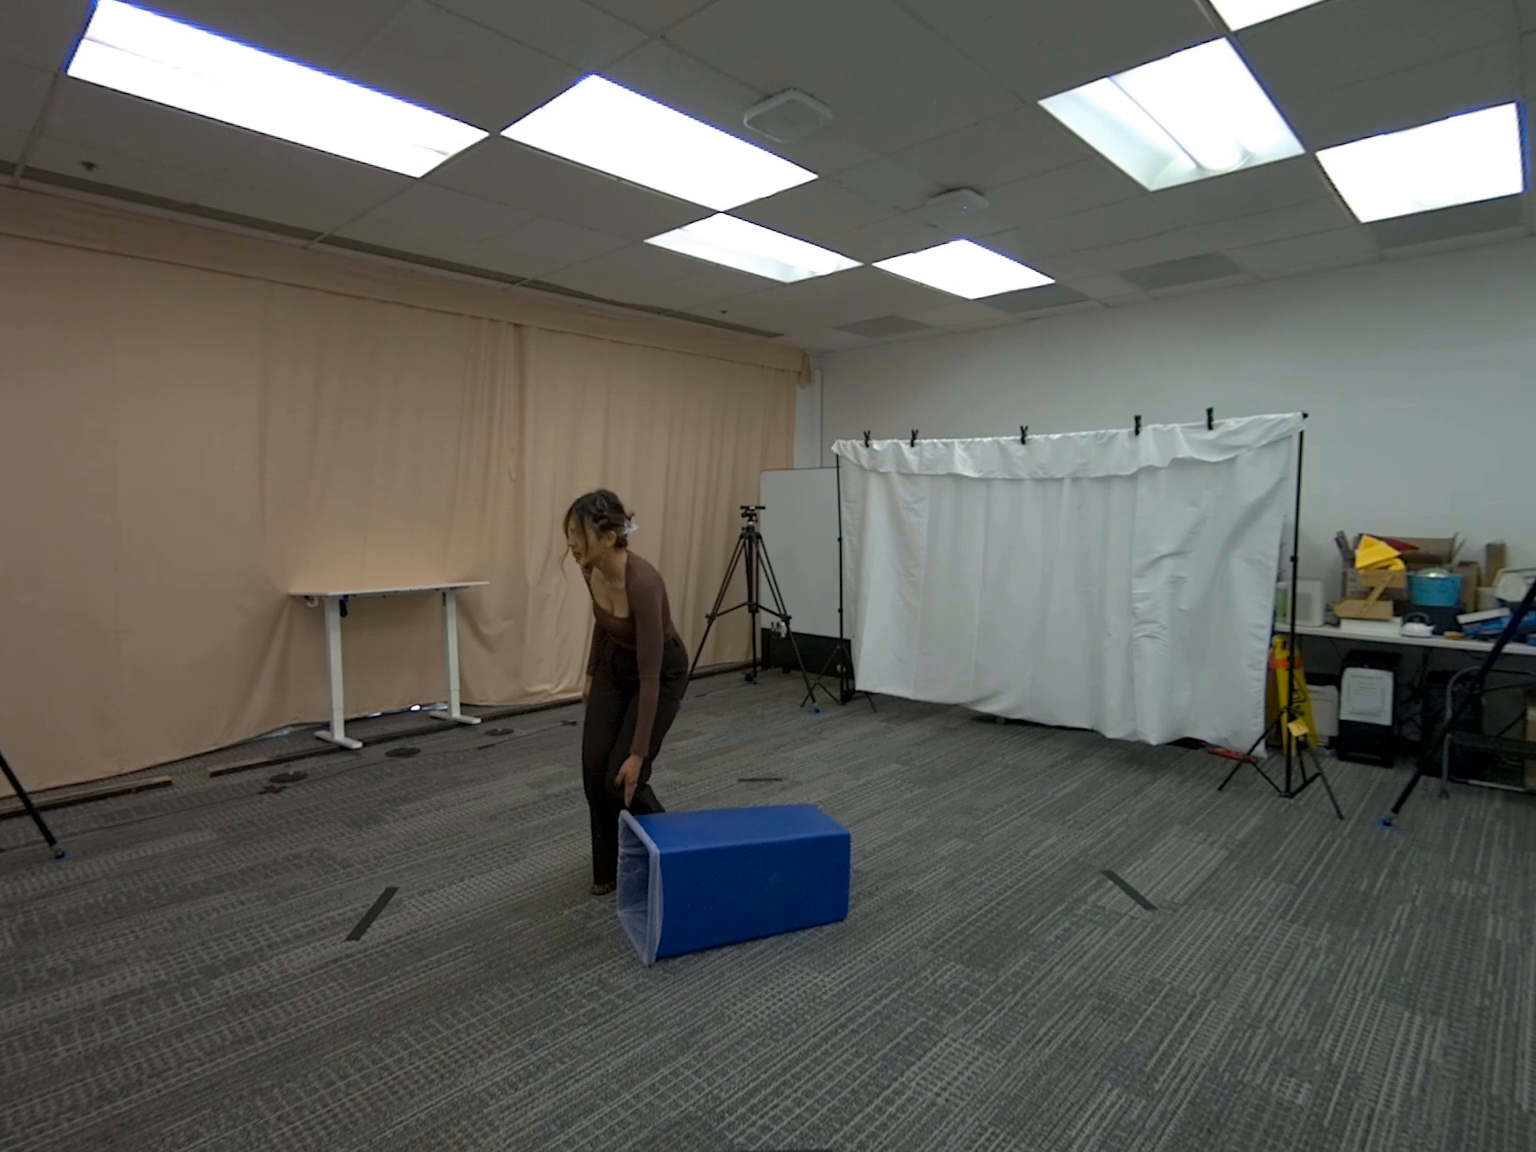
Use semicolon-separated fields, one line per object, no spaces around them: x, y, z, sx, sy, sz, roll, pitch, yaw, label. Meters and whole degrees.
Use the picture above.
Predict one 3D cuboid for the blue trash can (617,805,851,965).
-0.104;0.986;2.814;0.698;0.377;0.383;0;3;-23;blue trash can
